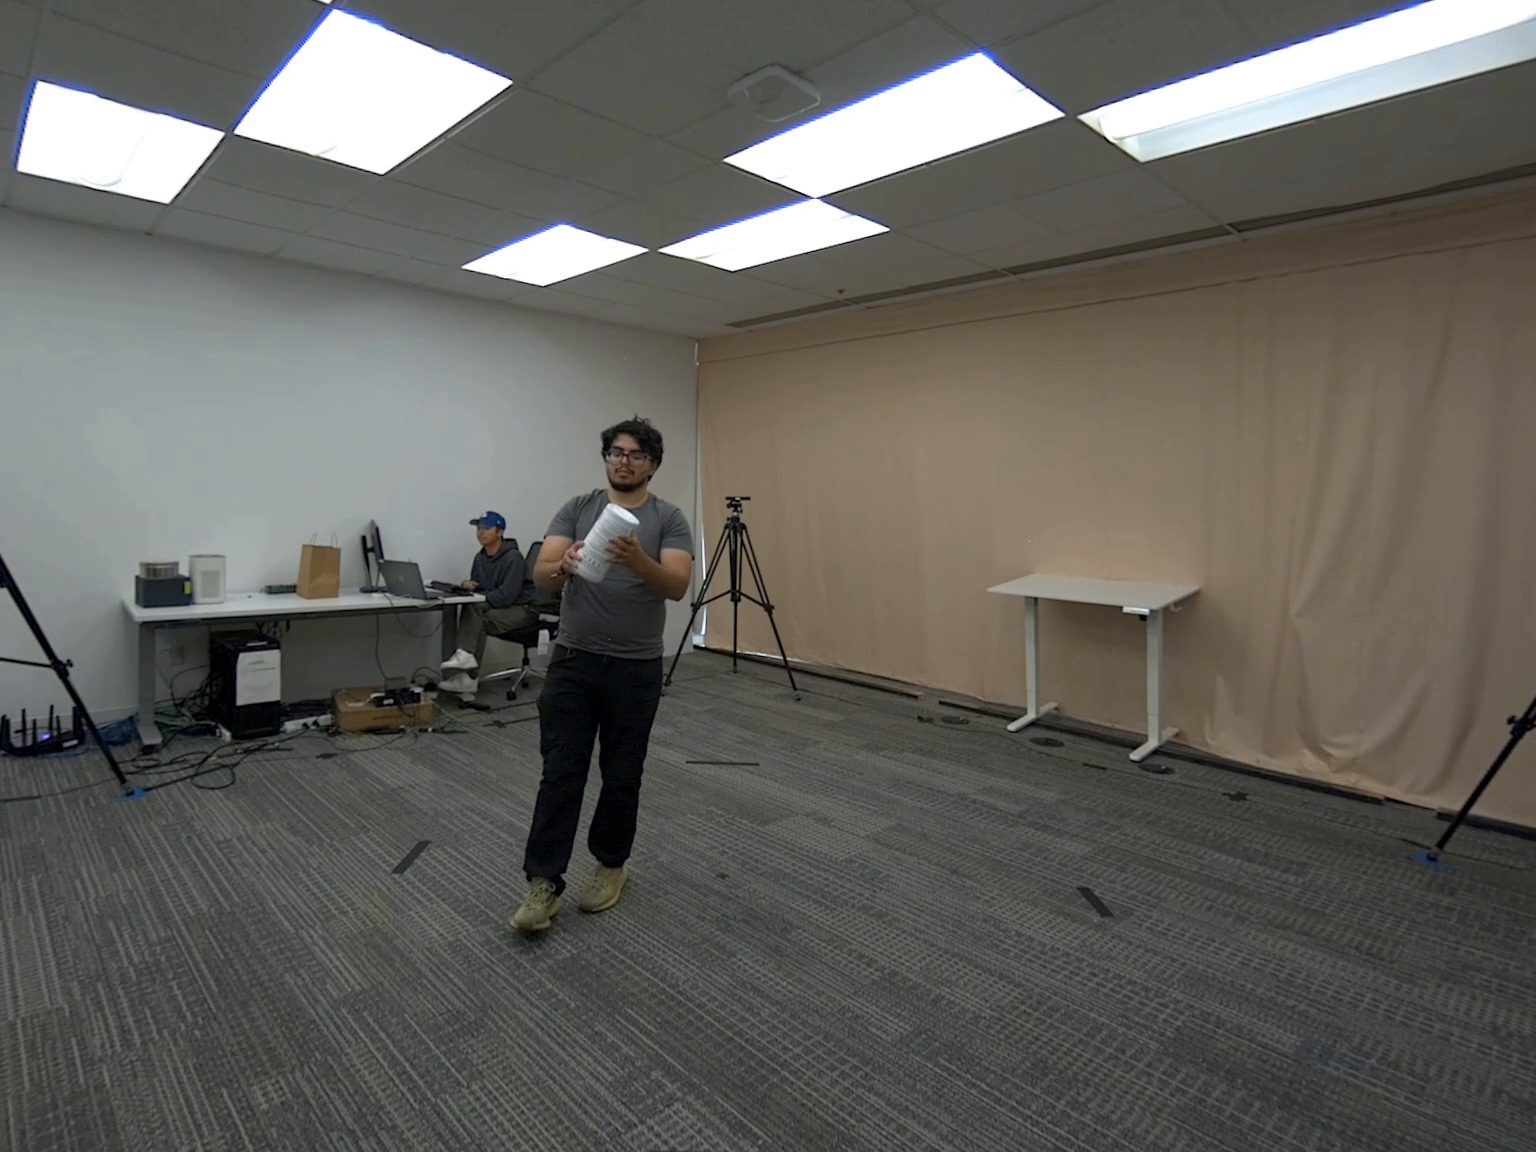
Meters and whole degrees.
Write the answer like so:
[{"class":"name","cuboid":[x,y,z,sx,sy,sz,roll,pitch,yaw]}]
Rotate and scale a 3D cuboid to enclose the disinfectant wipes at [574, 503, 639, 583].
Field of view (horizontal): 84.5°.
[{"class":"disinfectant wipes","cuboid":[-0.488,-0.096,2.439,0.117,0.217,0.119,31,9,-7]}]
